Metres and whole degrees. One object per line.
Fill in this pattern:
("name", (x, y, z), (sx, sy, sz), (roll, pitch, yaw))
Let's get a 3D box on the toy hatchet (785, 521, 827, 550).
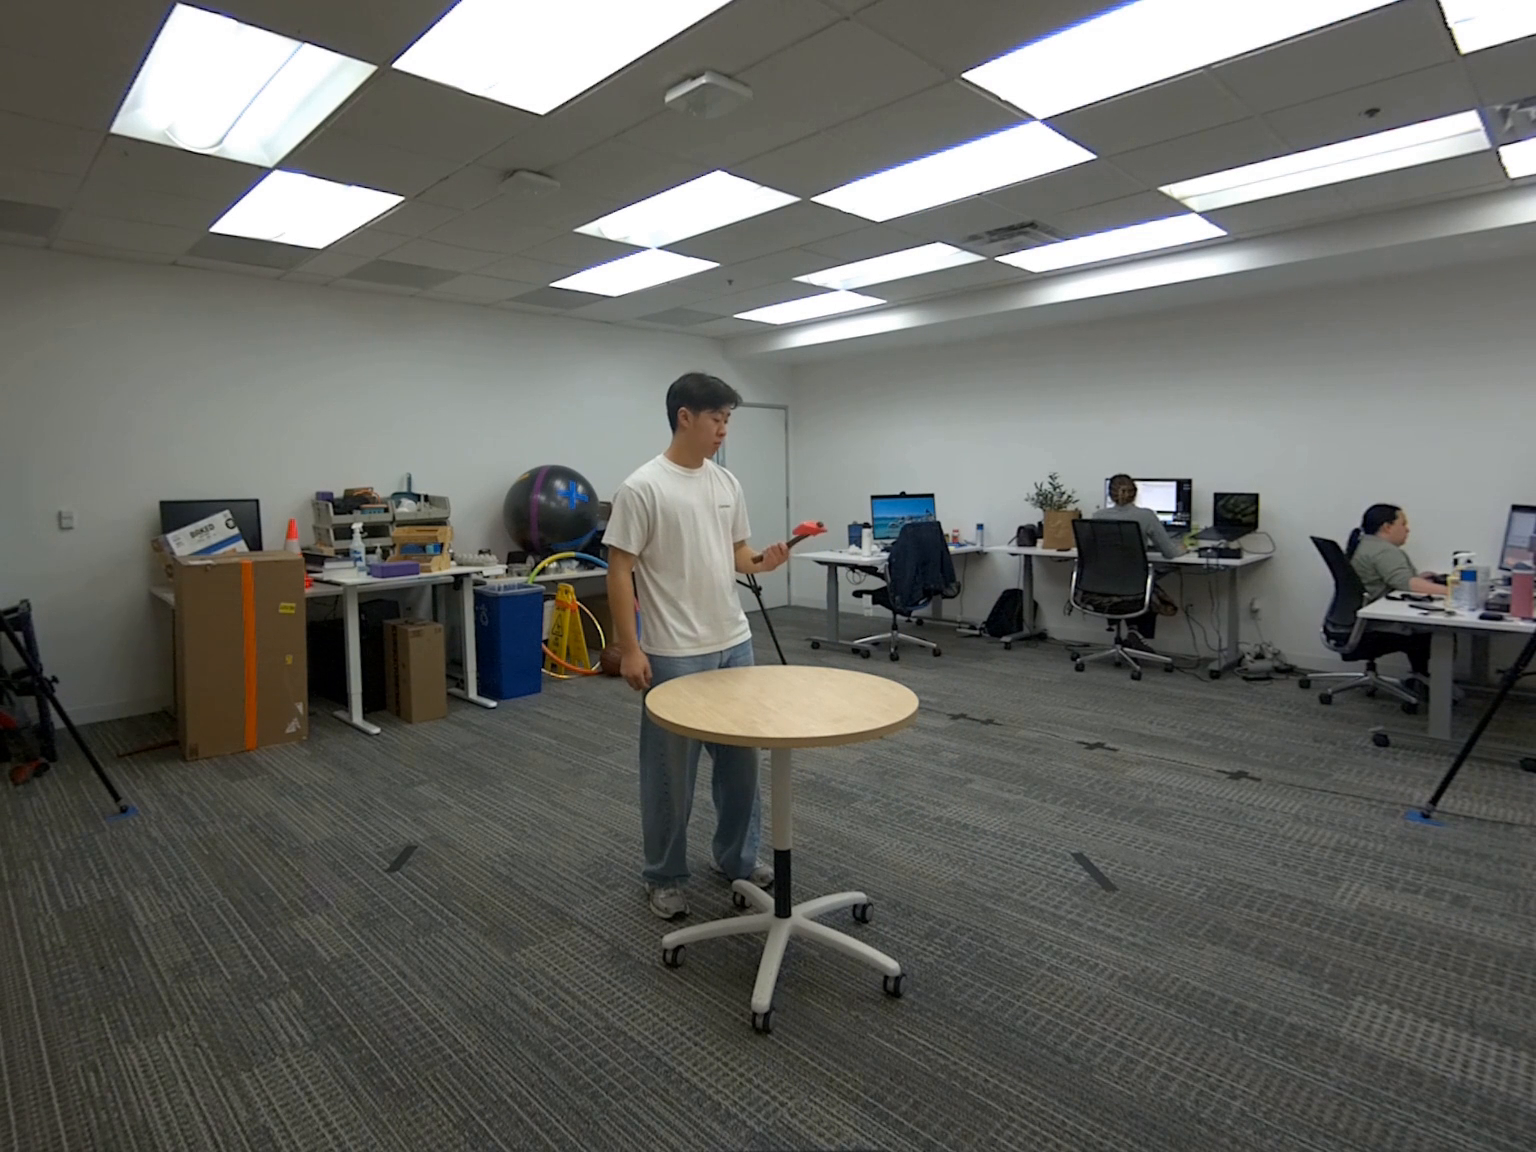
("toy hatchet", (0.050, -0.108, 2.683), (0.272, 0.030, 0.127), (-22, -19, 17))
